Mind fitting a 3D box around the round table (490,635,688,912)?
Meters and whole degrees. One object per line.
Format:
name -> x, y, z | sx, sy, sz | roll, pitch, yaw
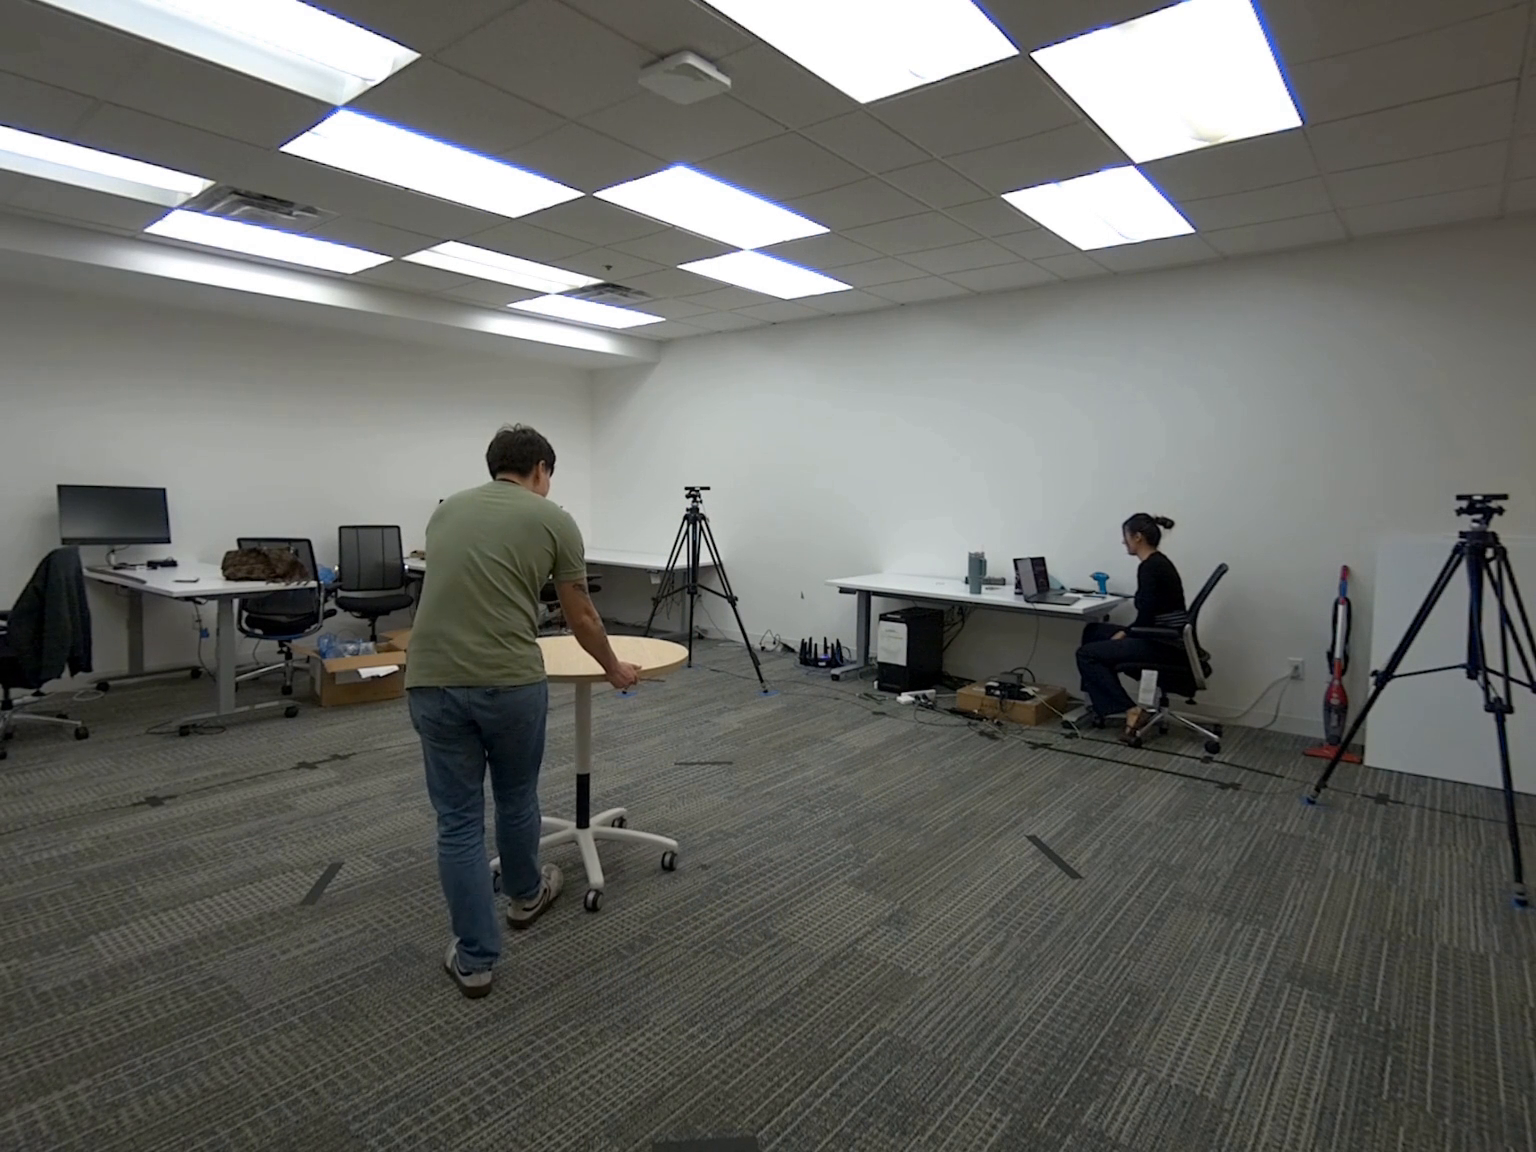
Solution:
round table -> -0.681, 0.671, 3.105 | 0.763, 0.792, 0.767 | 0, 4, -2
